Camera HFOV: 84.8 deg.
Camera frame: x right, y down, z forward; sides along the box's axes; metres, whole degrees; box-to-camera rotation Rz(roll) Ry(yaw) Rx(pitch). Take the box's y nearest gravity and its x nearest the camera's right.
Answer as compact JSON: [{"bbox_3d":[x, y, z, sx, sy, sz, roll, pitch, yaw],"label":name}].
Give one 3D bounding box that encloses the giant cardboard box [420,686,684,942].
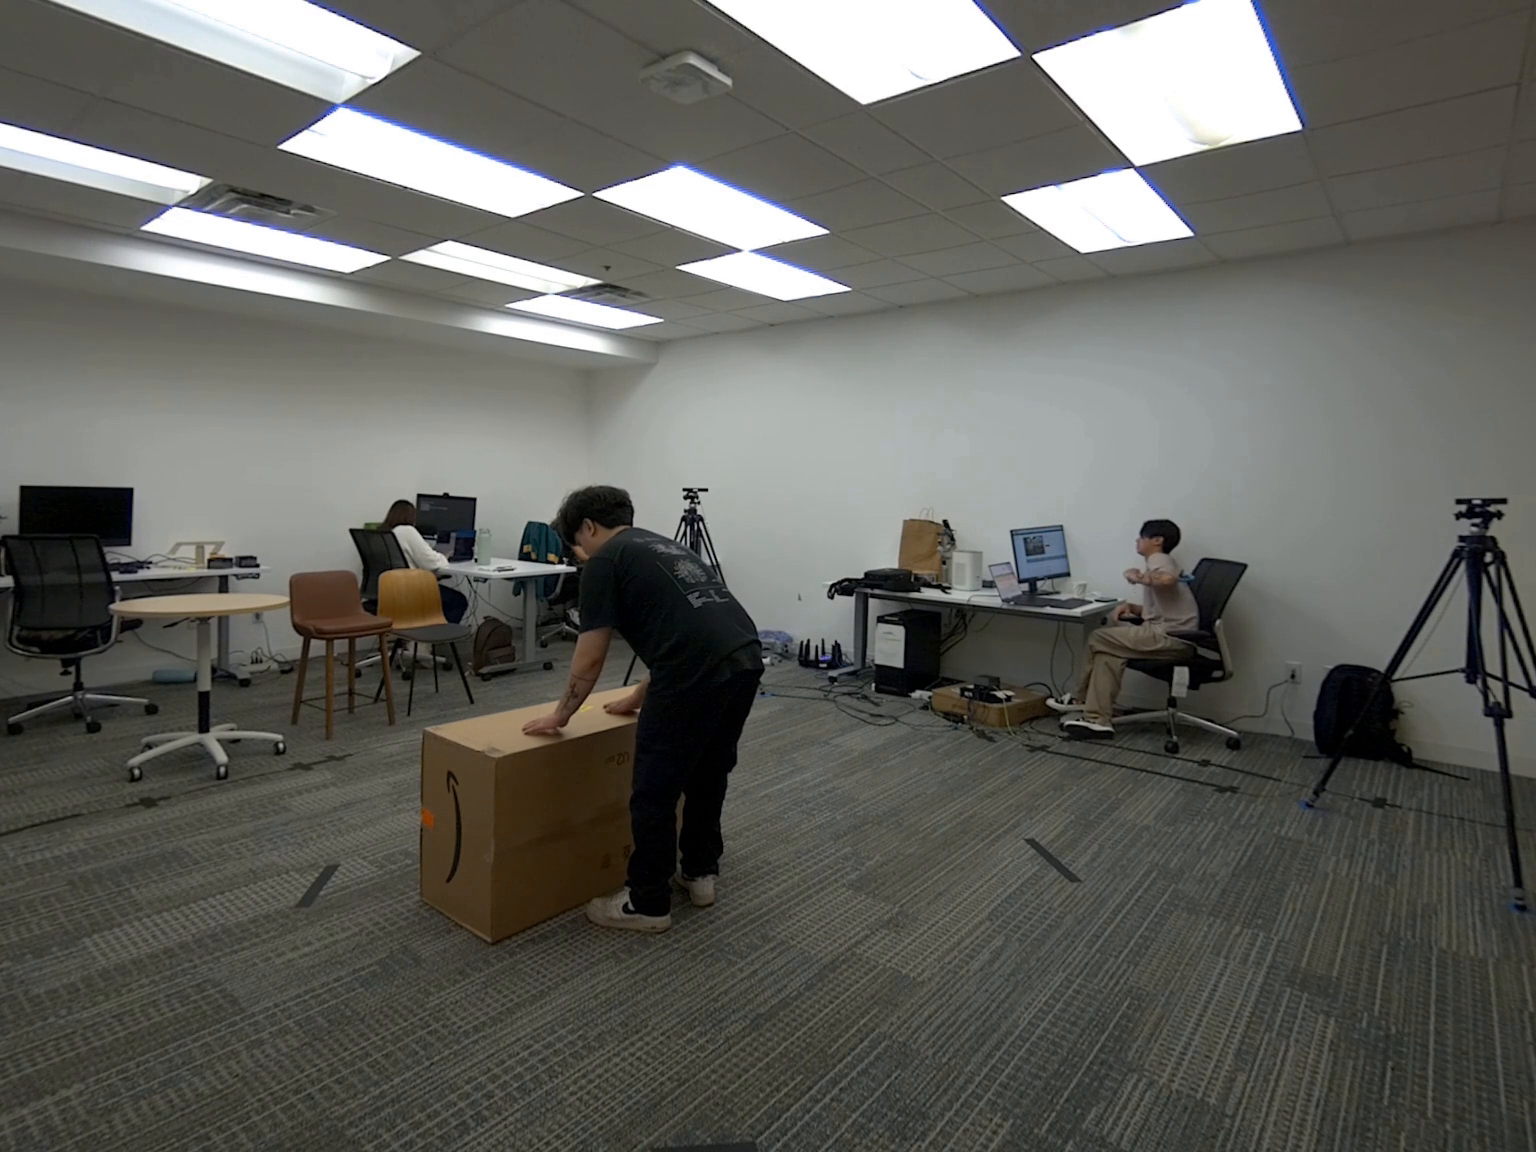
[{"bbox_3d":[-0.690,0.781,3.072,0.461,0.582,0.996,3,4,39],"label":"giant cardboard box"}]
